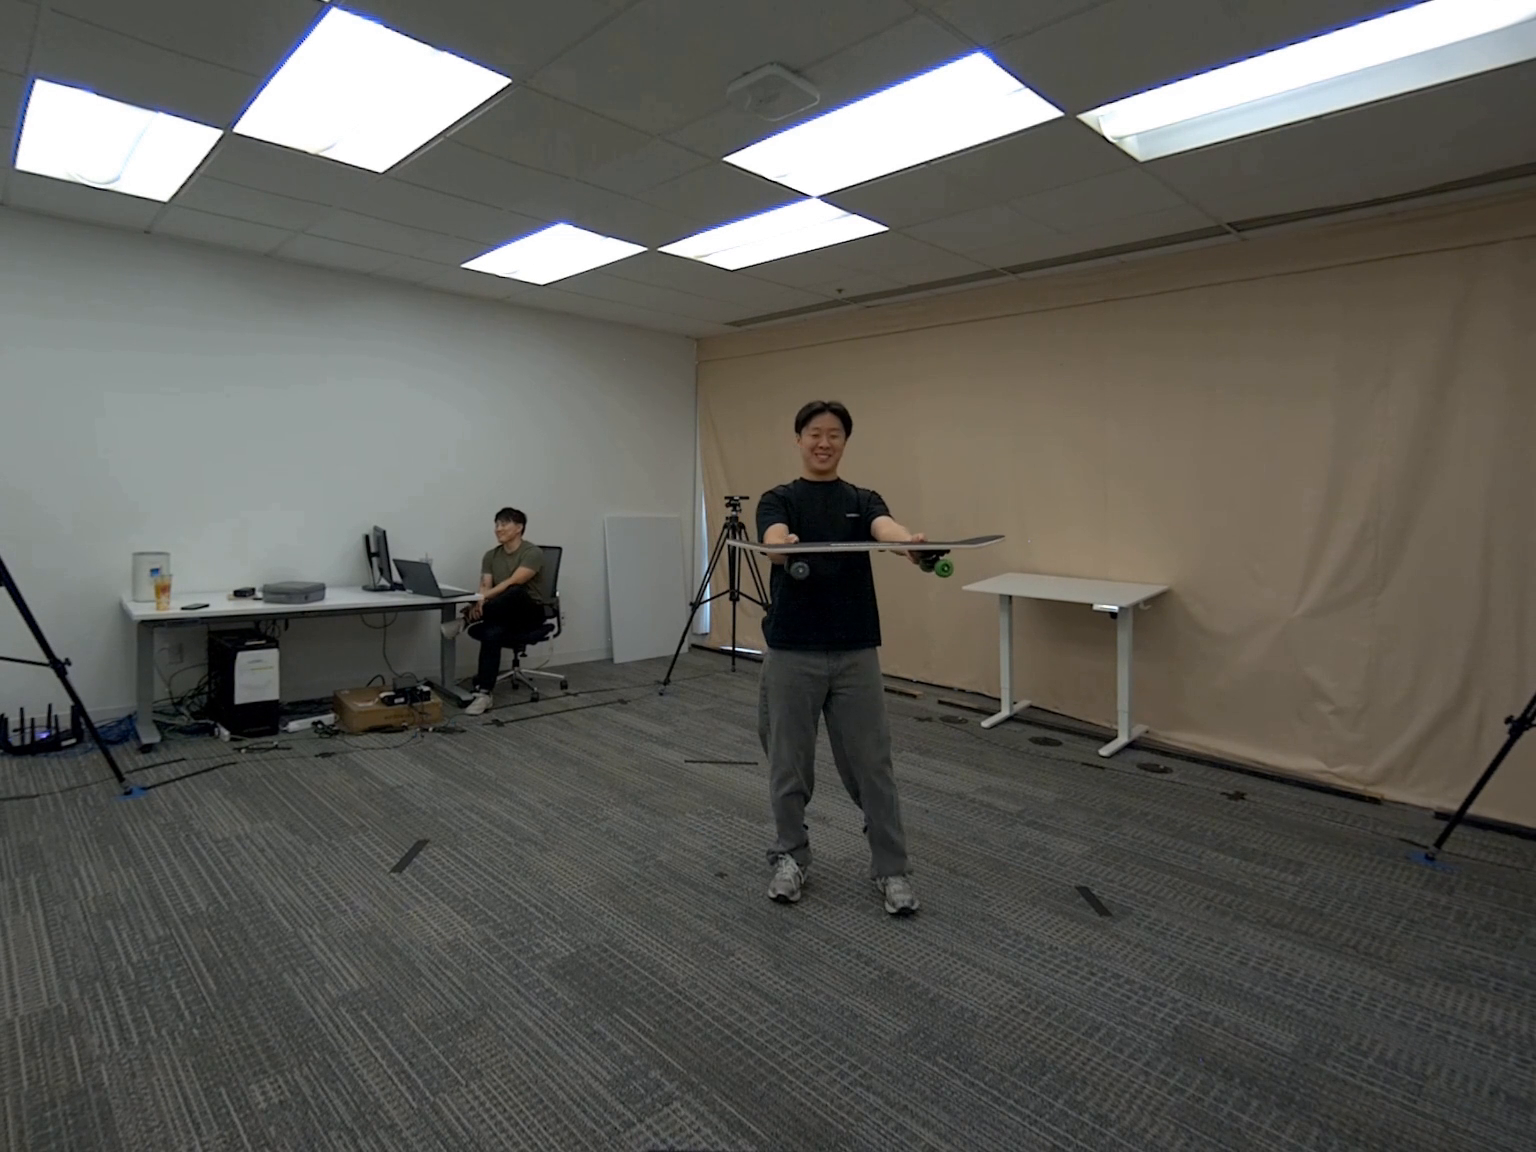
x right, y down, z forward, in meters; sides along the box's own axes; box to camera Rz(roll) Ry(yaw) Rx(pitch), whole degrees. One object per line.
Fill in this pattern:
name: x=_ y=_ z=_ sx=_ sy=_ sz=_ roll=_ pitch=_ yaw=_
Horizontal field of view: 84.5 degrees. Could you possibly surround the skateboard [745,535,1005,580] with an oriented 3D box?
skateboard: x=0.268 y=-0.050 z=2.360 sx=0.783 sy=0.110 sz=0.195 roll=-2 pitch=5 yaw=-4
